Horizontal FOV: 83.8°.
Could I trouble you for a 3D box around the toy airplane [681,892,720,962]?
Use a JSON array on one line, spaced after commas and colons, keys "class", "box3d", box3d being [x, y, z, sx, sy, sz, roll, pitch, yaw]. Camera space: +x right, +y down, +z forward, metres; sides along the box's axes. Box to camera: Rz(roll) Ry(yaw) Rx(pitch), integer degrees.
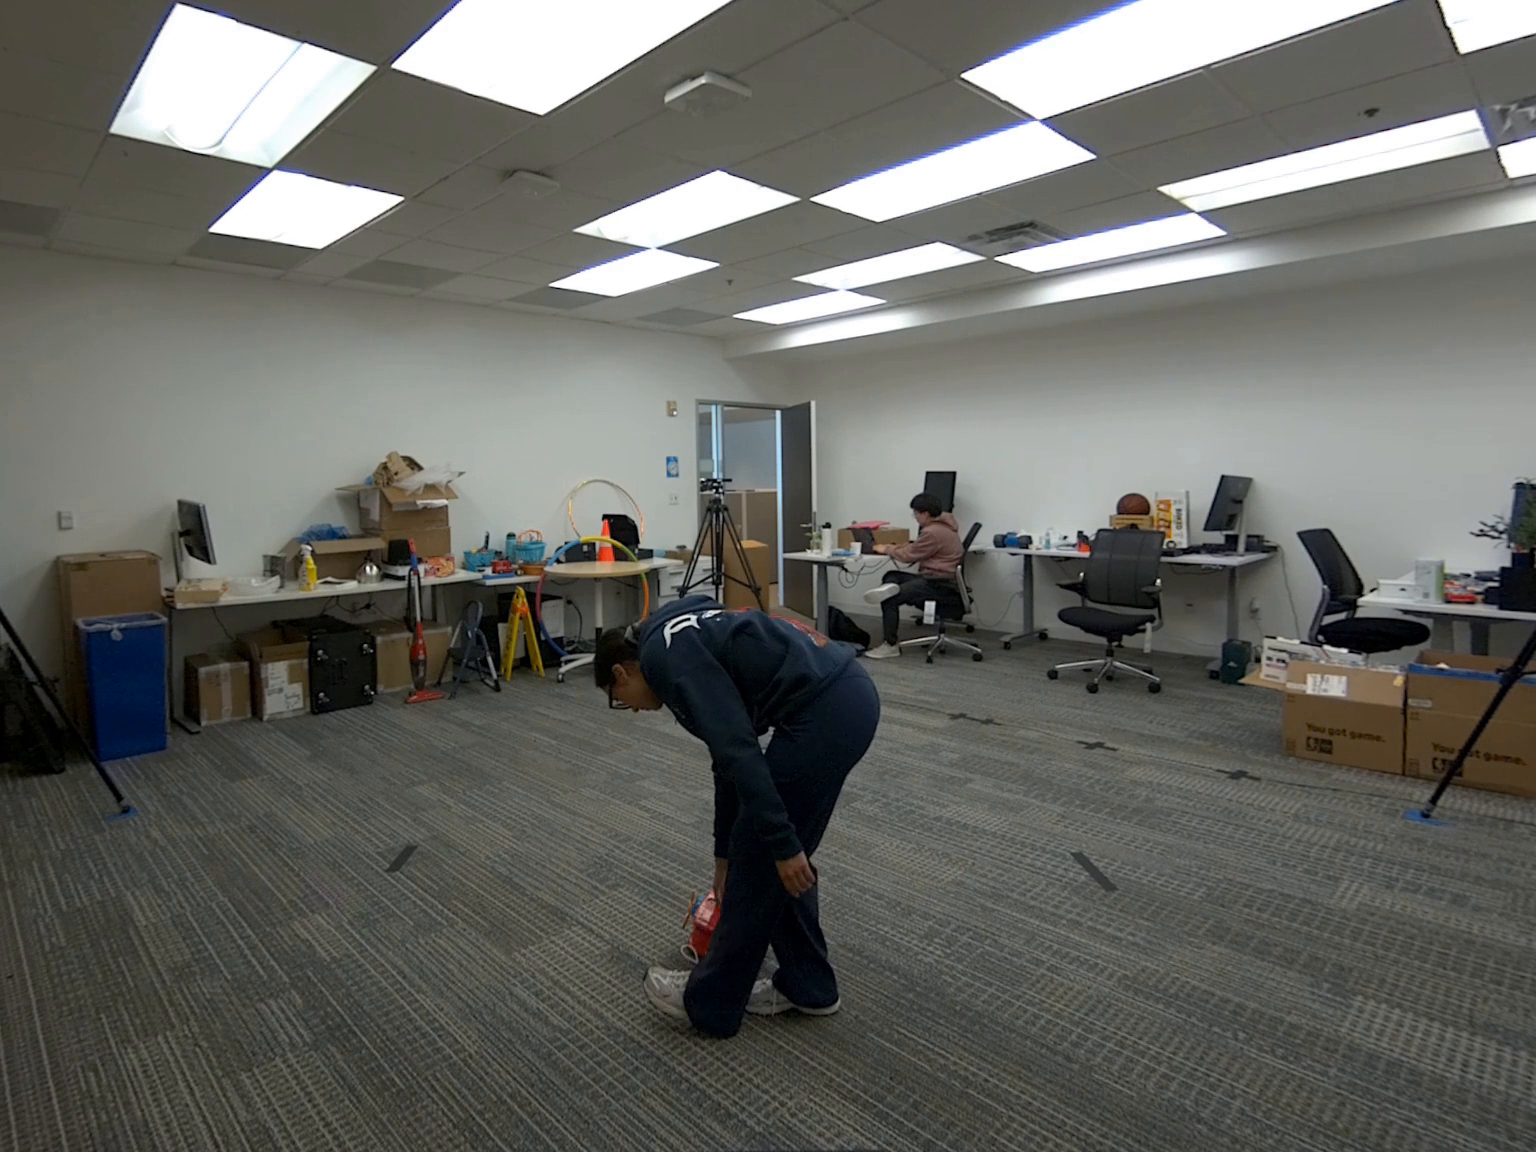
[{"class": "toy airplane", "box3d": [-0.110, 1.041, 2.539, 0.257, 0.155, 0.255, 0, 8, -9]}]
